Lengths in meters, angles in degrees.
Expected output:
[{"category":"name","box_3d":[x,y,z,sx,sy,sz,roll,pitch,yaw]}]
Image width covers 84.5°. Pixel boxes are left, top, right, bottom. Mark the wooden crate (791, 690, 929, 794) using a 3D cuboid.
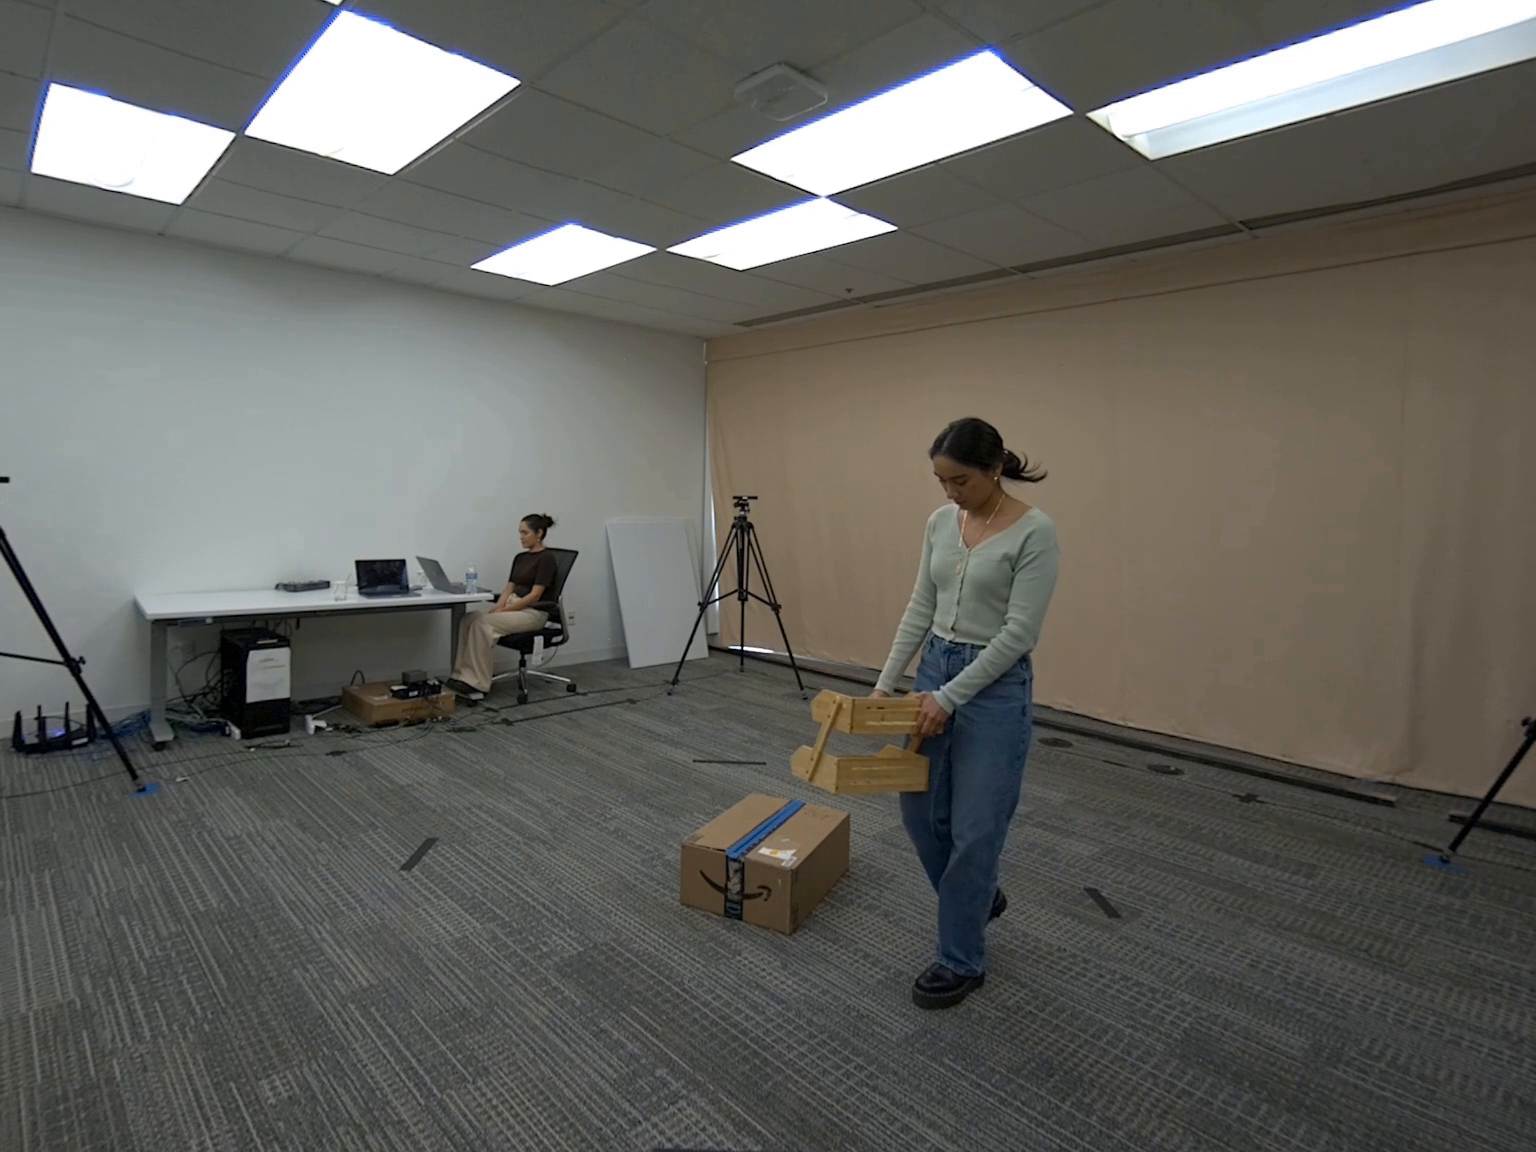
[{"category":"wooden crate","box_3d":[0.269,0.449,2.374,0.318,0.274,0.307,4,-2,-26]}]
